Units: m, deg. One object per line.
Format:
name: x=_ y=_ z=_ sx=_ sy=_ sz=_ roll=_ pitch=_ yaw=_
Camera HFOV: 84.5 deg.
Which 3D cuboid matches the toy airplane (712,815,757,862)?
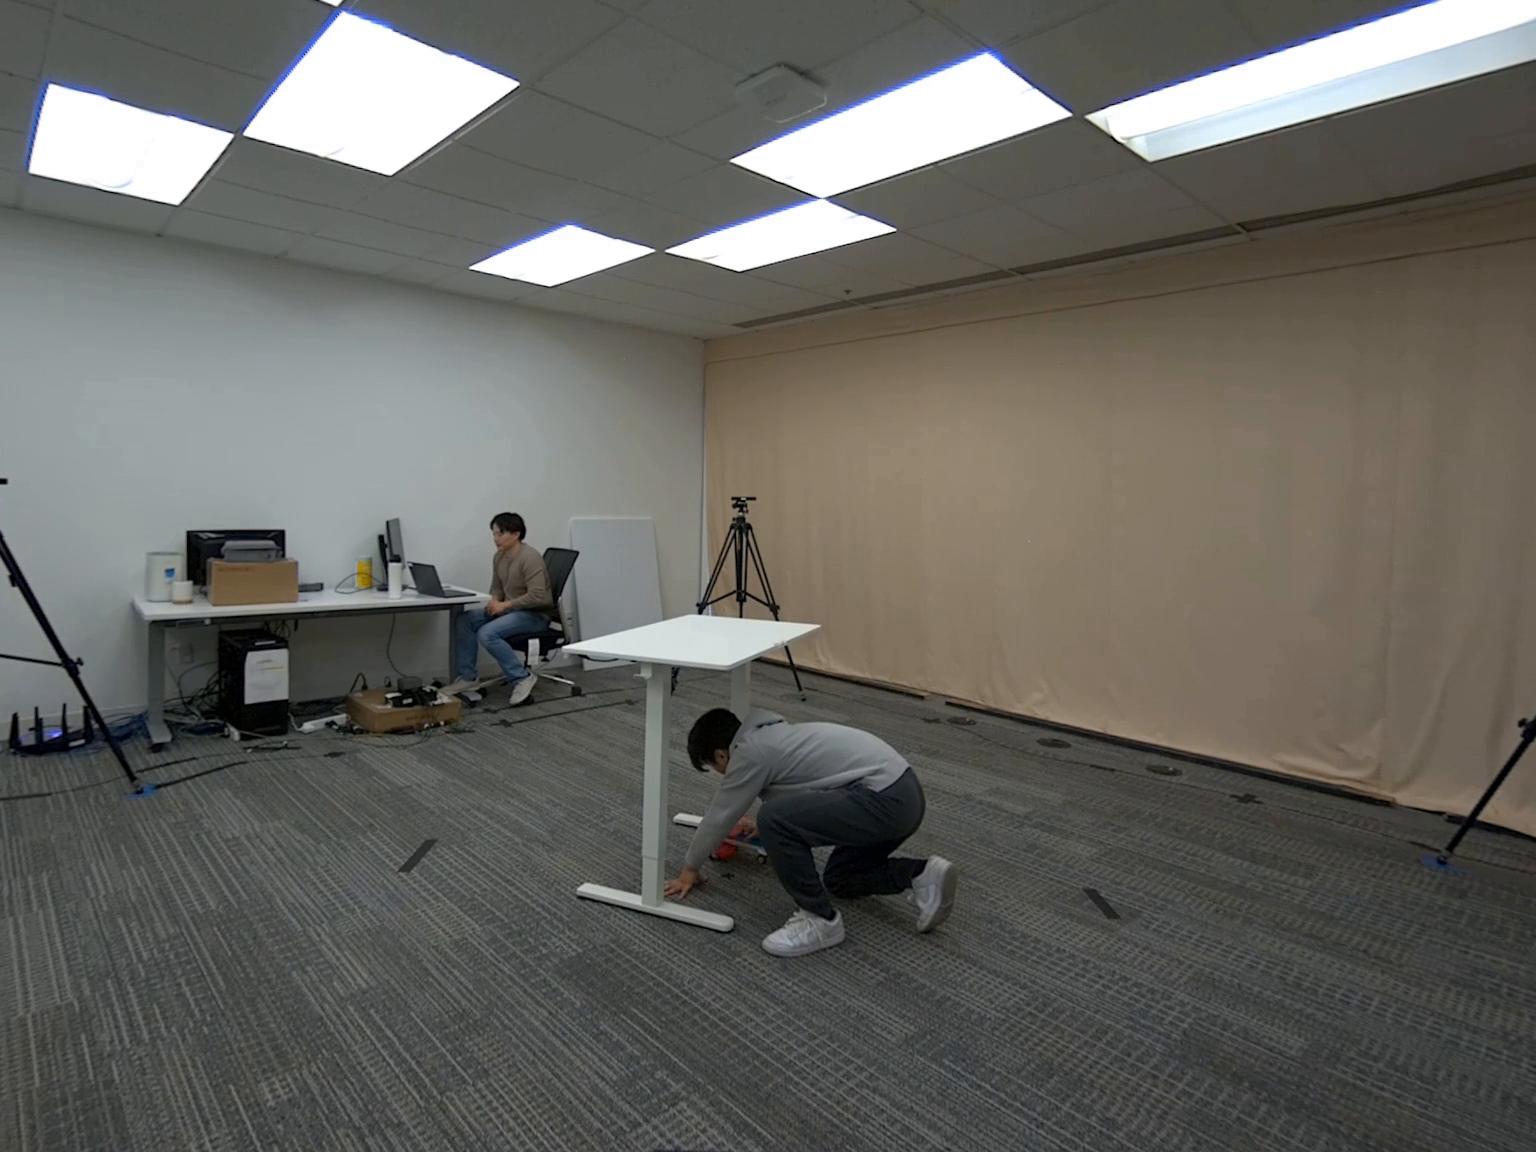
toy airplane: x=-0.116 y=1.025 z=3.275 sx=0.256 sy=0.156 sz=0.255 roll=0 pitch=6 yaw=-15
